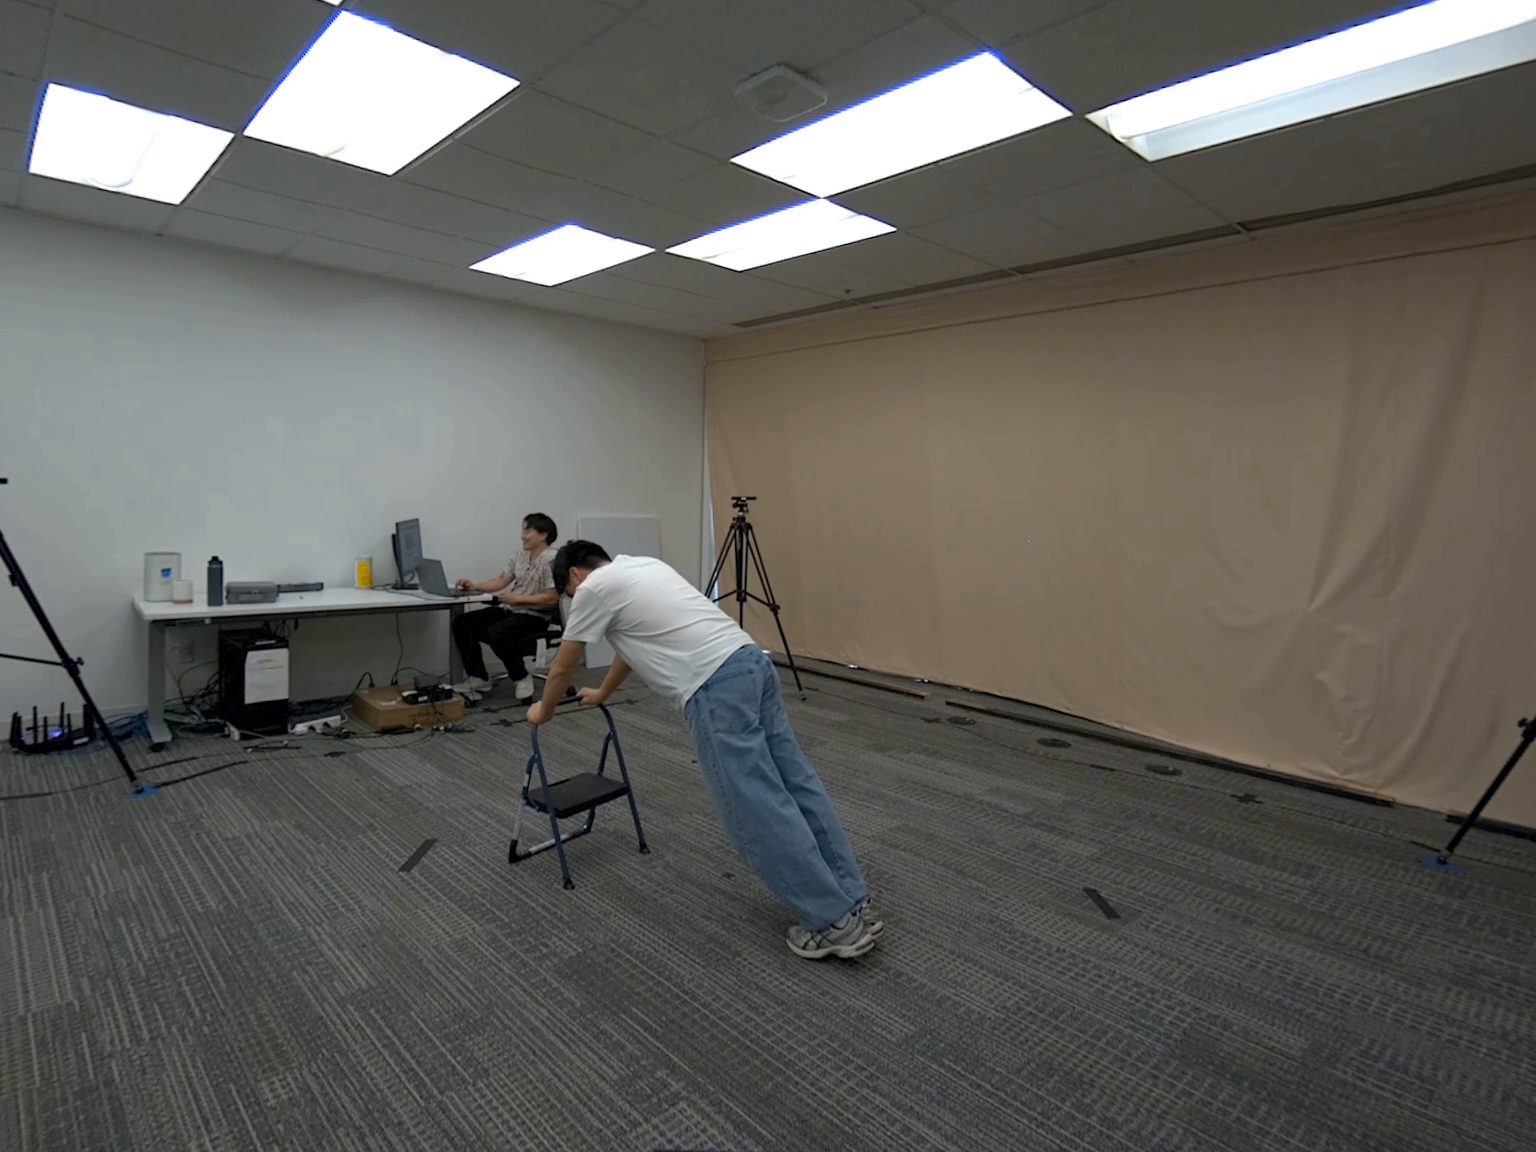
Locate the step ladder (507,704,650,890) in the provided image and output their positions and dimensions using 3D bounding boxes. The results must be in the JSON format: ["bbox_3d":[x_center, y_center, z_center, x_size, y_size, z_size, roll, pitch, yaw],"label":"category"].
[{"bbox_3d":[-0.725,0.779,3.223,0.357,0.605,0.421,3,4,34],"label":"step ladder"}]
